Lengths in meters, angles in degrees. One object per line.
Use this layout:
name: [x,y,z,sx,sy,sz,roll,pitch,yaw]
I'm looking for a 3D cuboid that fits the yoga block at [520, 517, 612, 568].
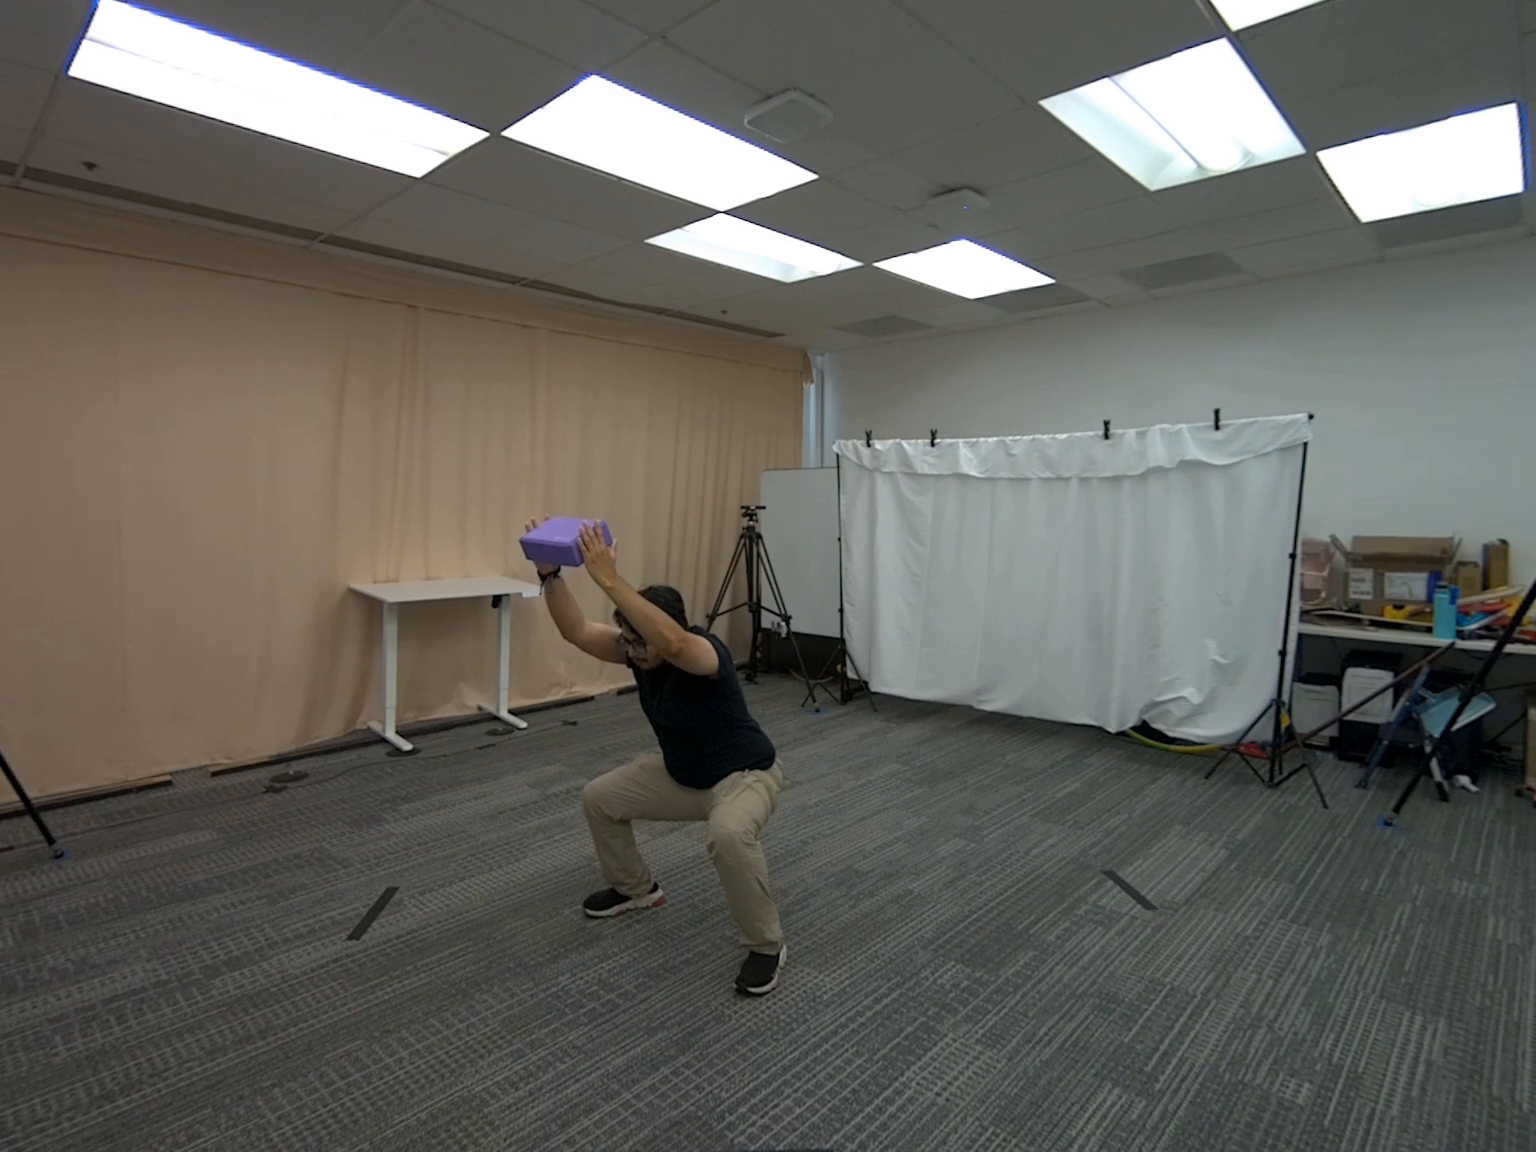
yoga block: [-0.556,-0.097,2.329,0.237,0.075,0.147,8,37,40]
